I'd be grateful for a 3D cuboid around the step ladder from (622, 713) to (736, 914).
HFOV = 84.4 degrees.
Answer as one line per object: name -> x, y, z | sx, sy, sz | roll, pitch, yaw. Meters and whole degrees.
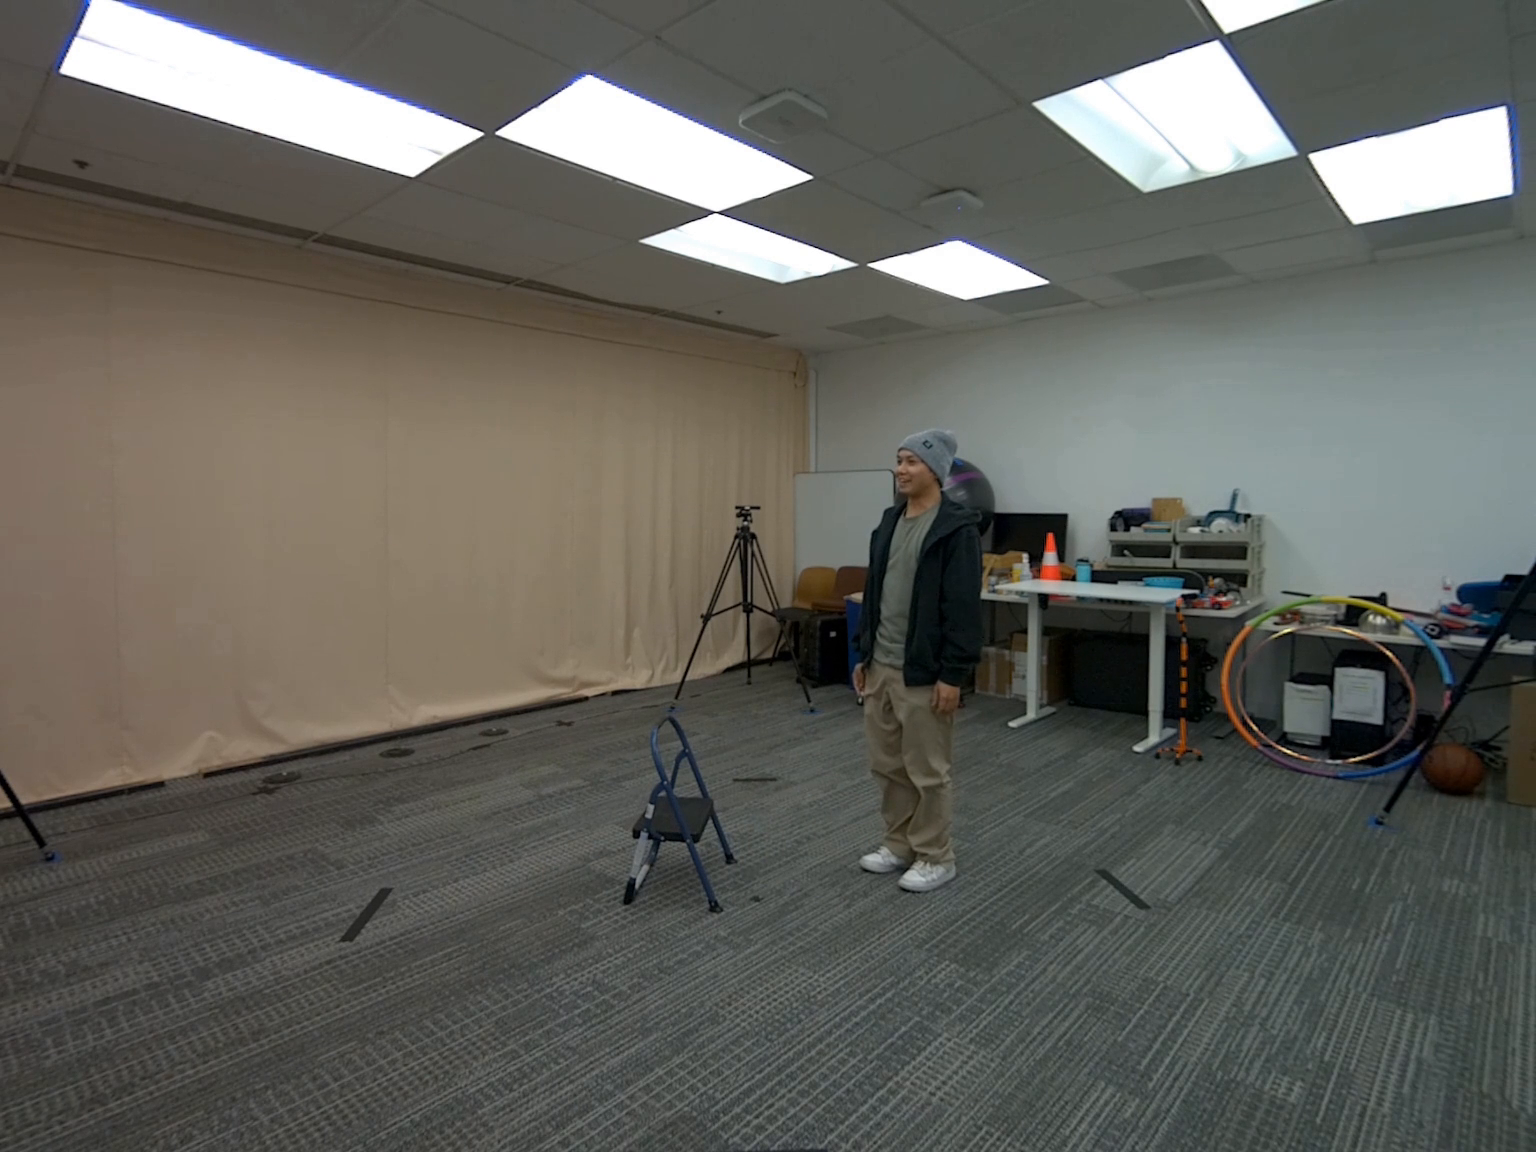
step ladder -> -0.318, 0.837, 3.109 | 0.352, 0.604, 0.428 | 0, 4, 7
